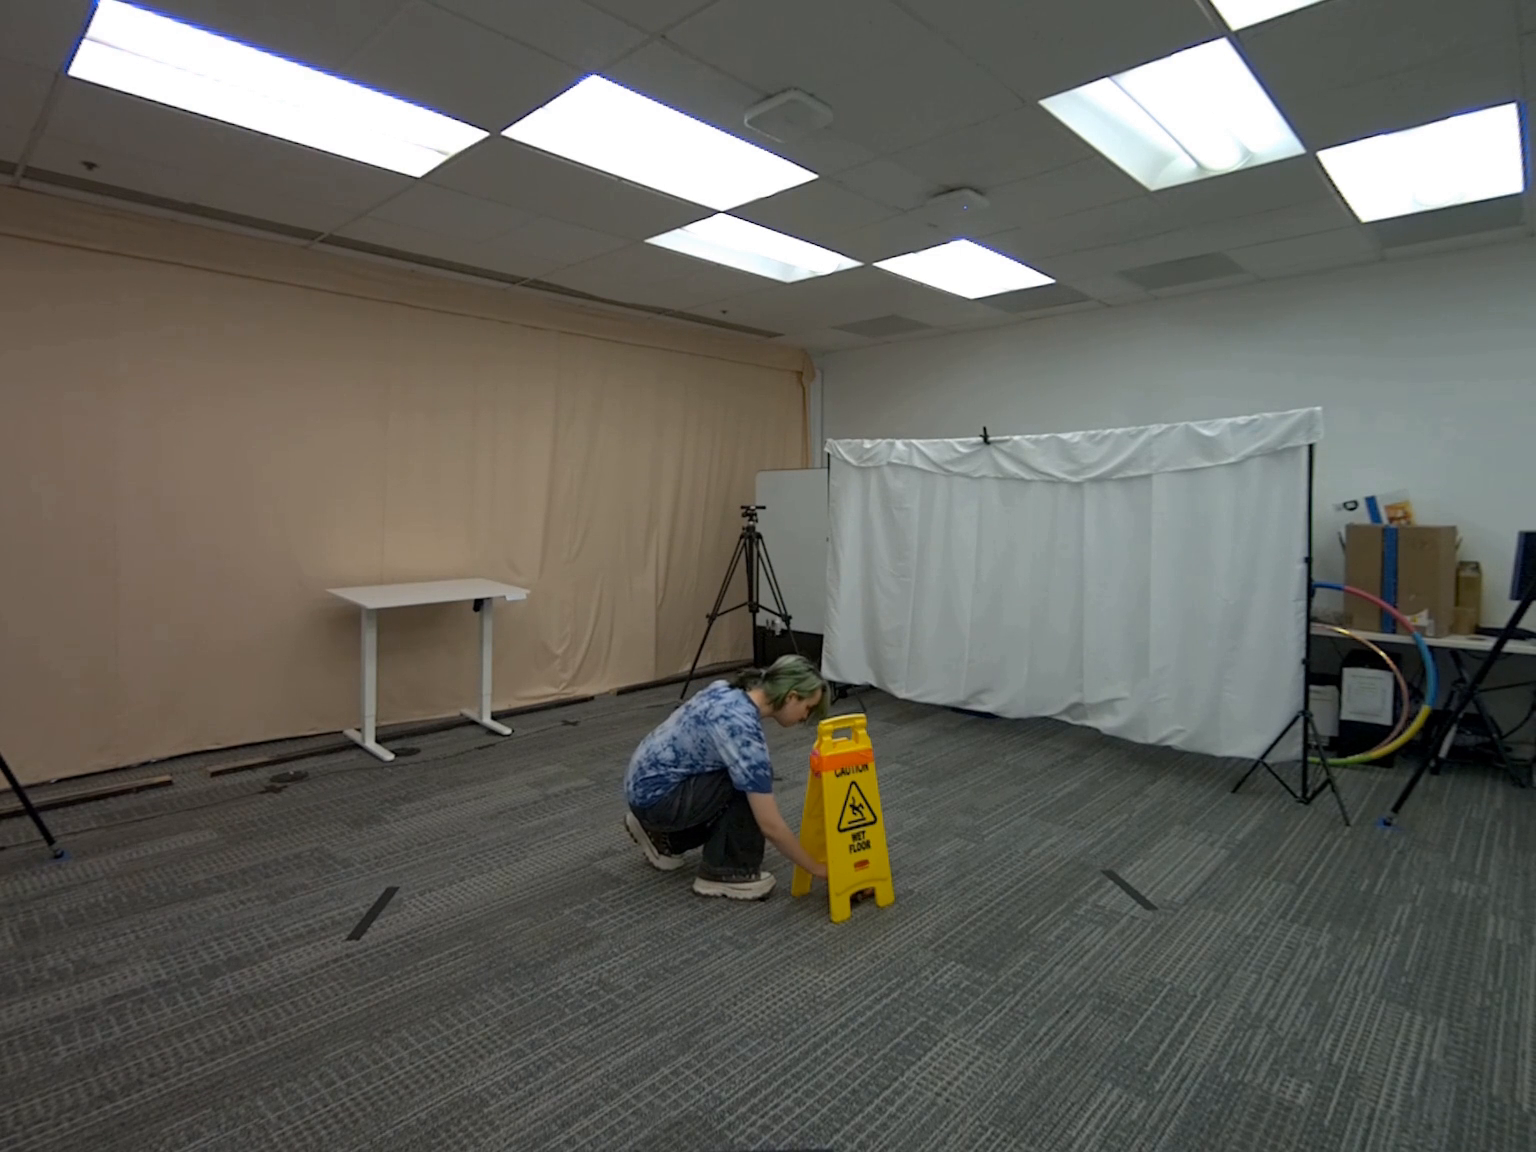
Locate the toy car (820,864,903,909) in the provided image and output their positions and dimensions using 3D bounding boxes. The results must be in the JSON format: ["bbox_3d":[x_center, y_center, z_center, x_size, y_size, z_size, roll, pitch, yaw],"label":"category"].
[{"bbox_3d":[0.331,1.098,3.010,0.247,0.083,0.134,8,0,-32],"label":"toy car"}]
